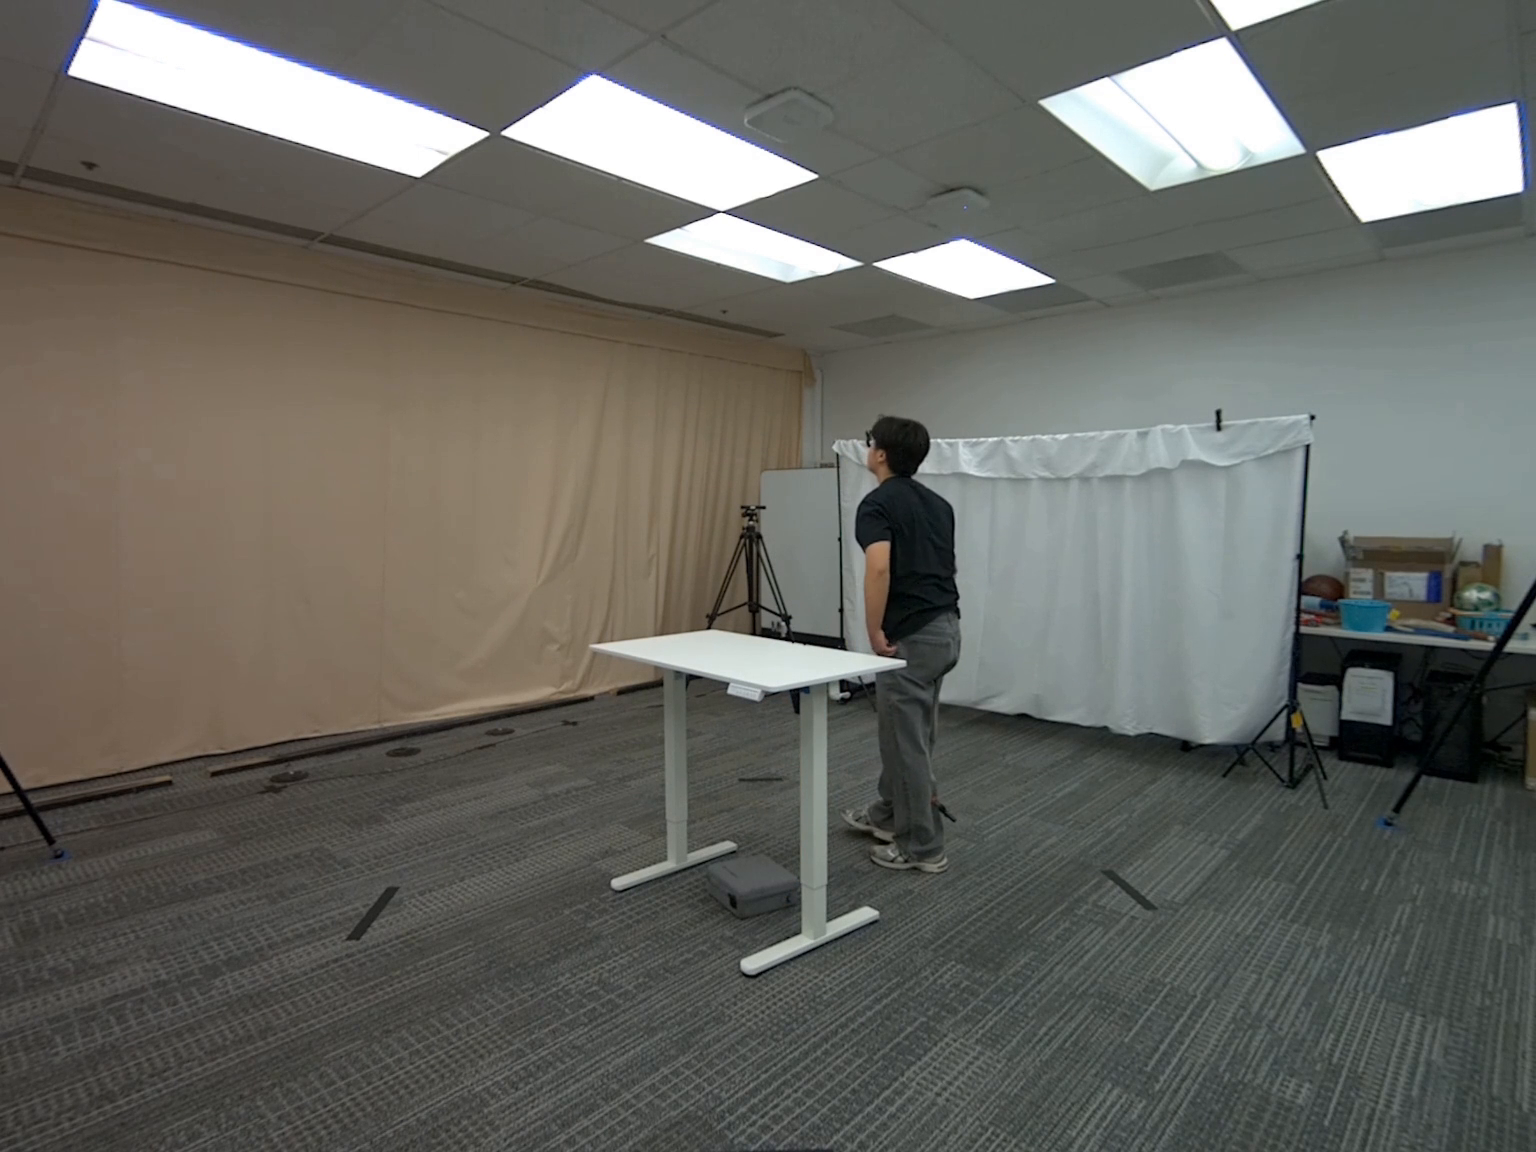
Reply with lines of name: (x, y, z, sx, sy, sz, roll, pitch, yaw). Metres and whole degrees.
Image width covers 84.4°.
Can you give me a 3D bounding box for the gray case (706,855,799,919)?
gray case: (-0.058, 1.088, 2.973, 0.279, 0.103, 0.271, -2, 5, -30)
